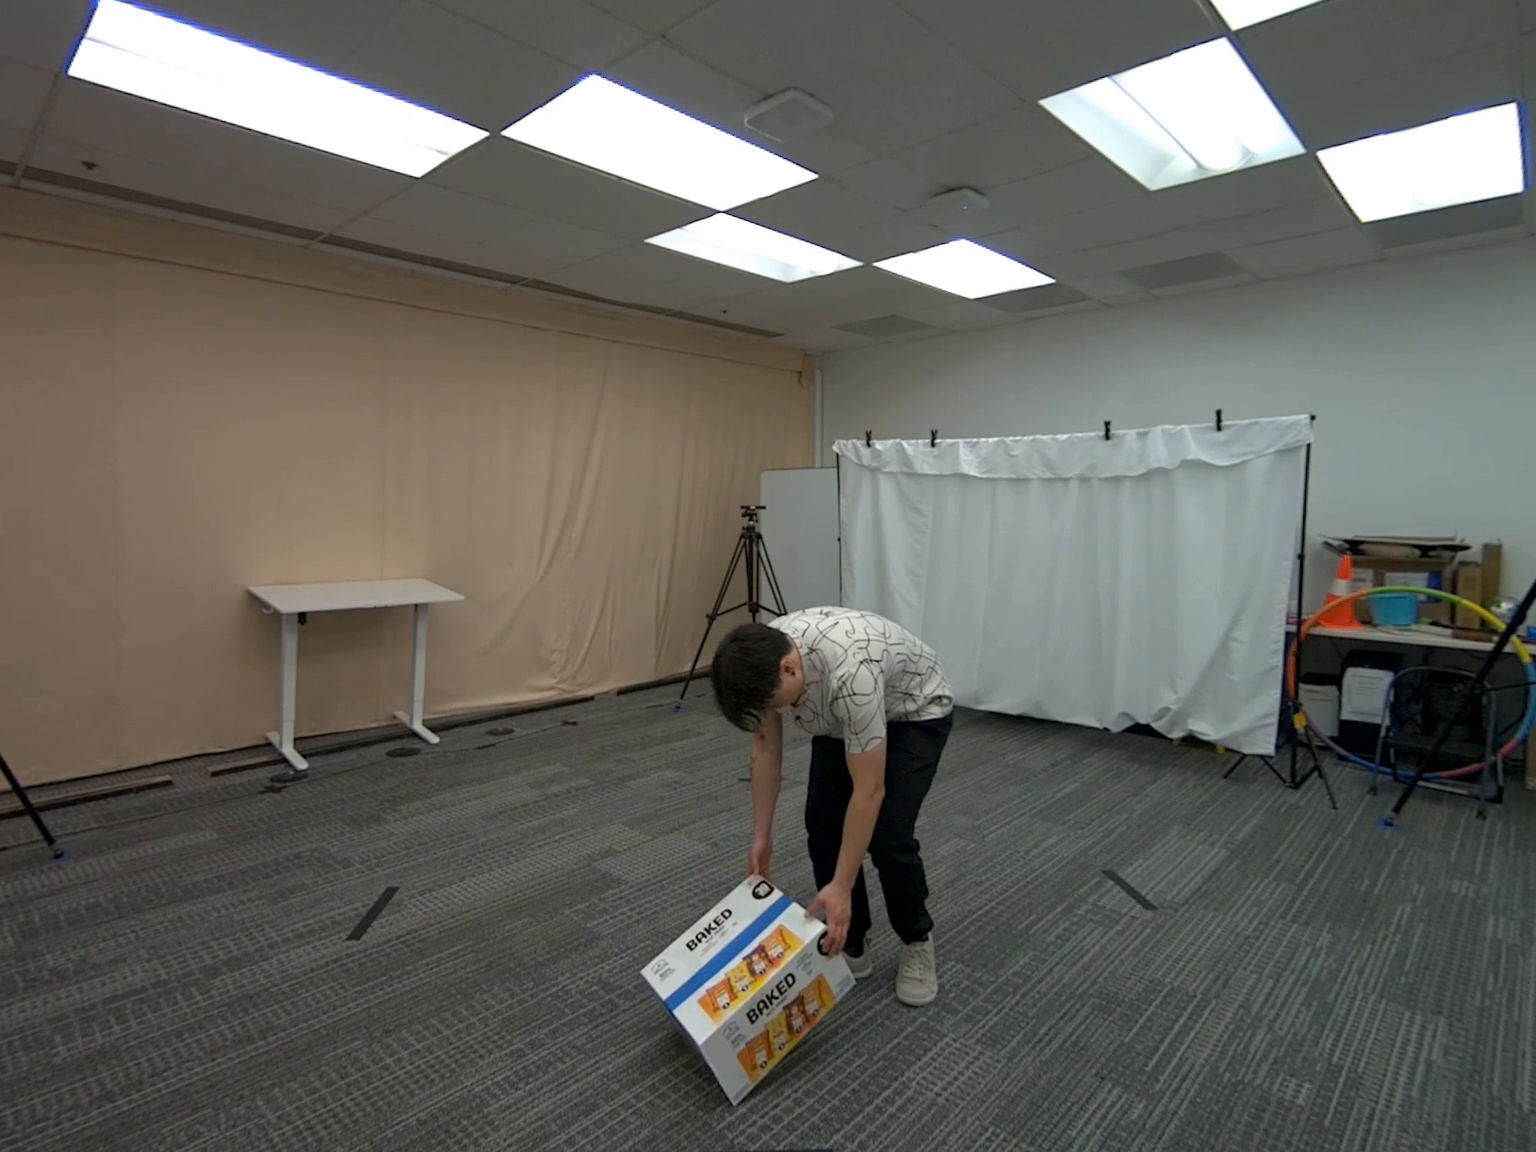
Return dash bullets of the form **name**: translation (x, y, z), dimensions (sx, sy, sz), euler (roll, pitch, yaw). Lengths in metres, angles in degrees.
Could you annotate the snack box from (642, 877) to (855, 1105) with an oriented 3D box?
- **snack box**: translation (-0.051, 1.034, 2.145), dimensions (0.400, 0.202, 0.350), euler (-34, 21, -23)
